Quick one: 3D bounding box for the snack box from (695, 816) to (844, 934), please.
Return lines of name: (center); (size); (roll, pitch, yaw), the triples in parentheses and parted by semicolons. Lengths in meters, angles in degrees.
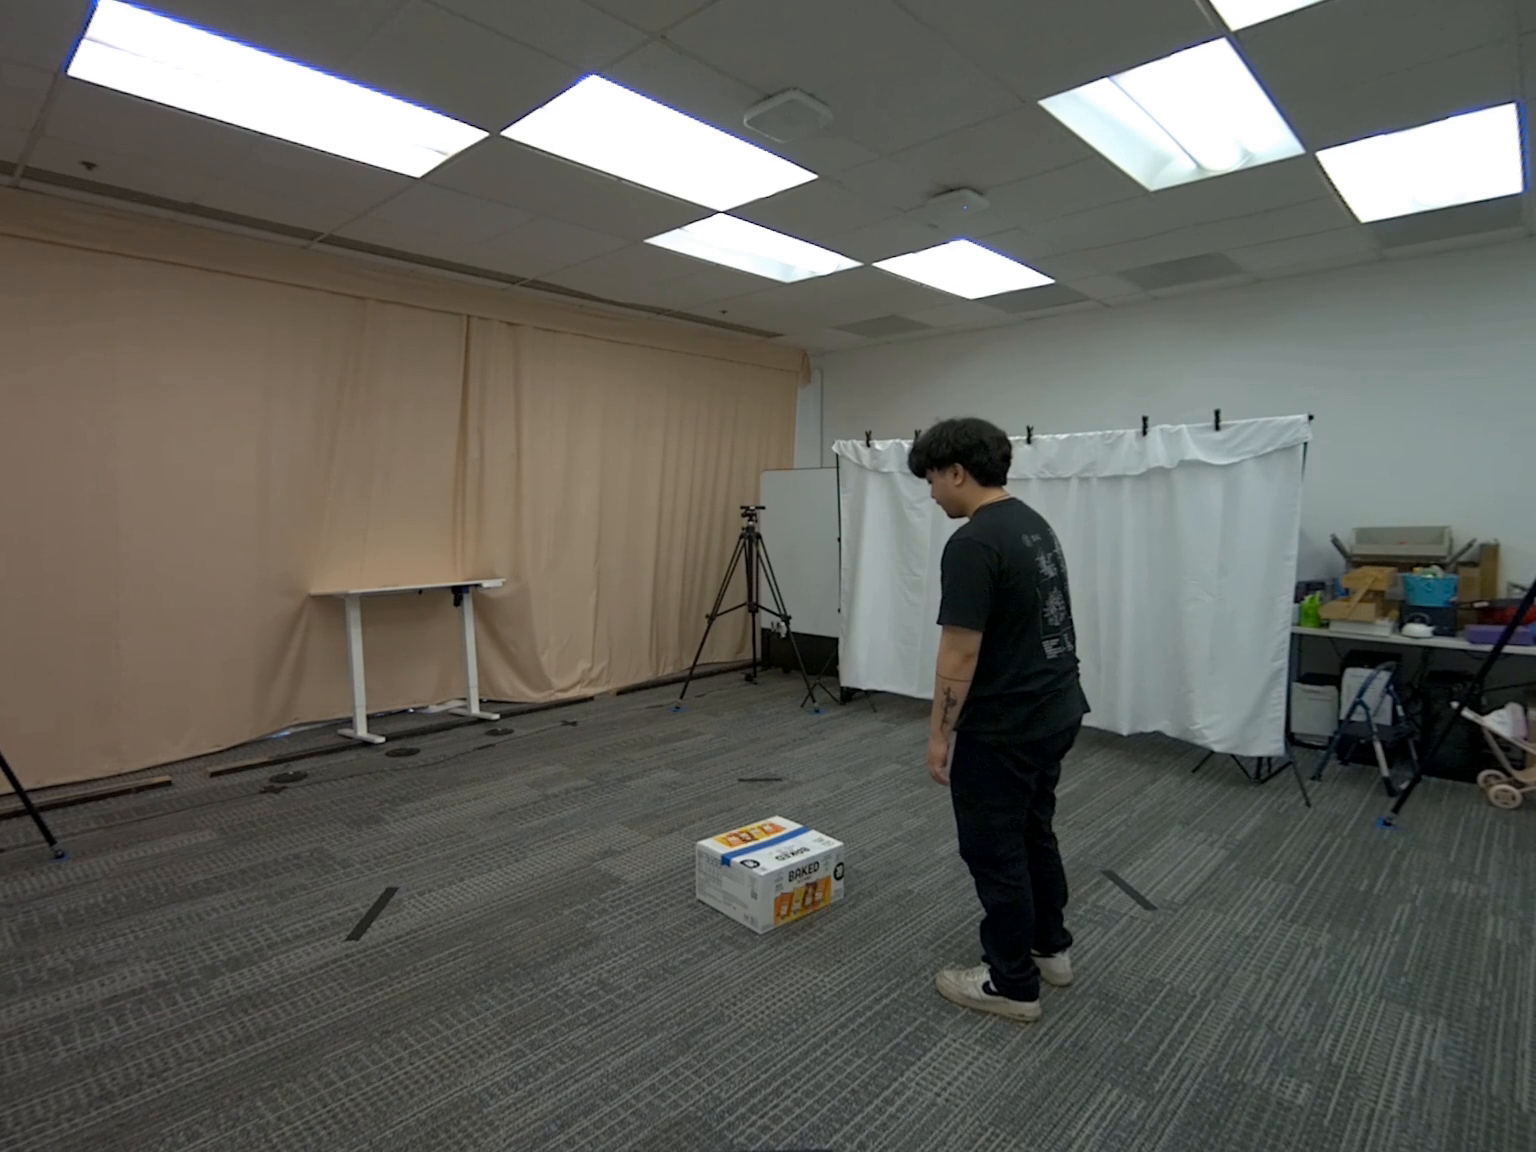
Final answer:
snack box: (0.009, 1.044, 2.973); (0.393, 0.205, 0.352); (-4, 6, -41)
